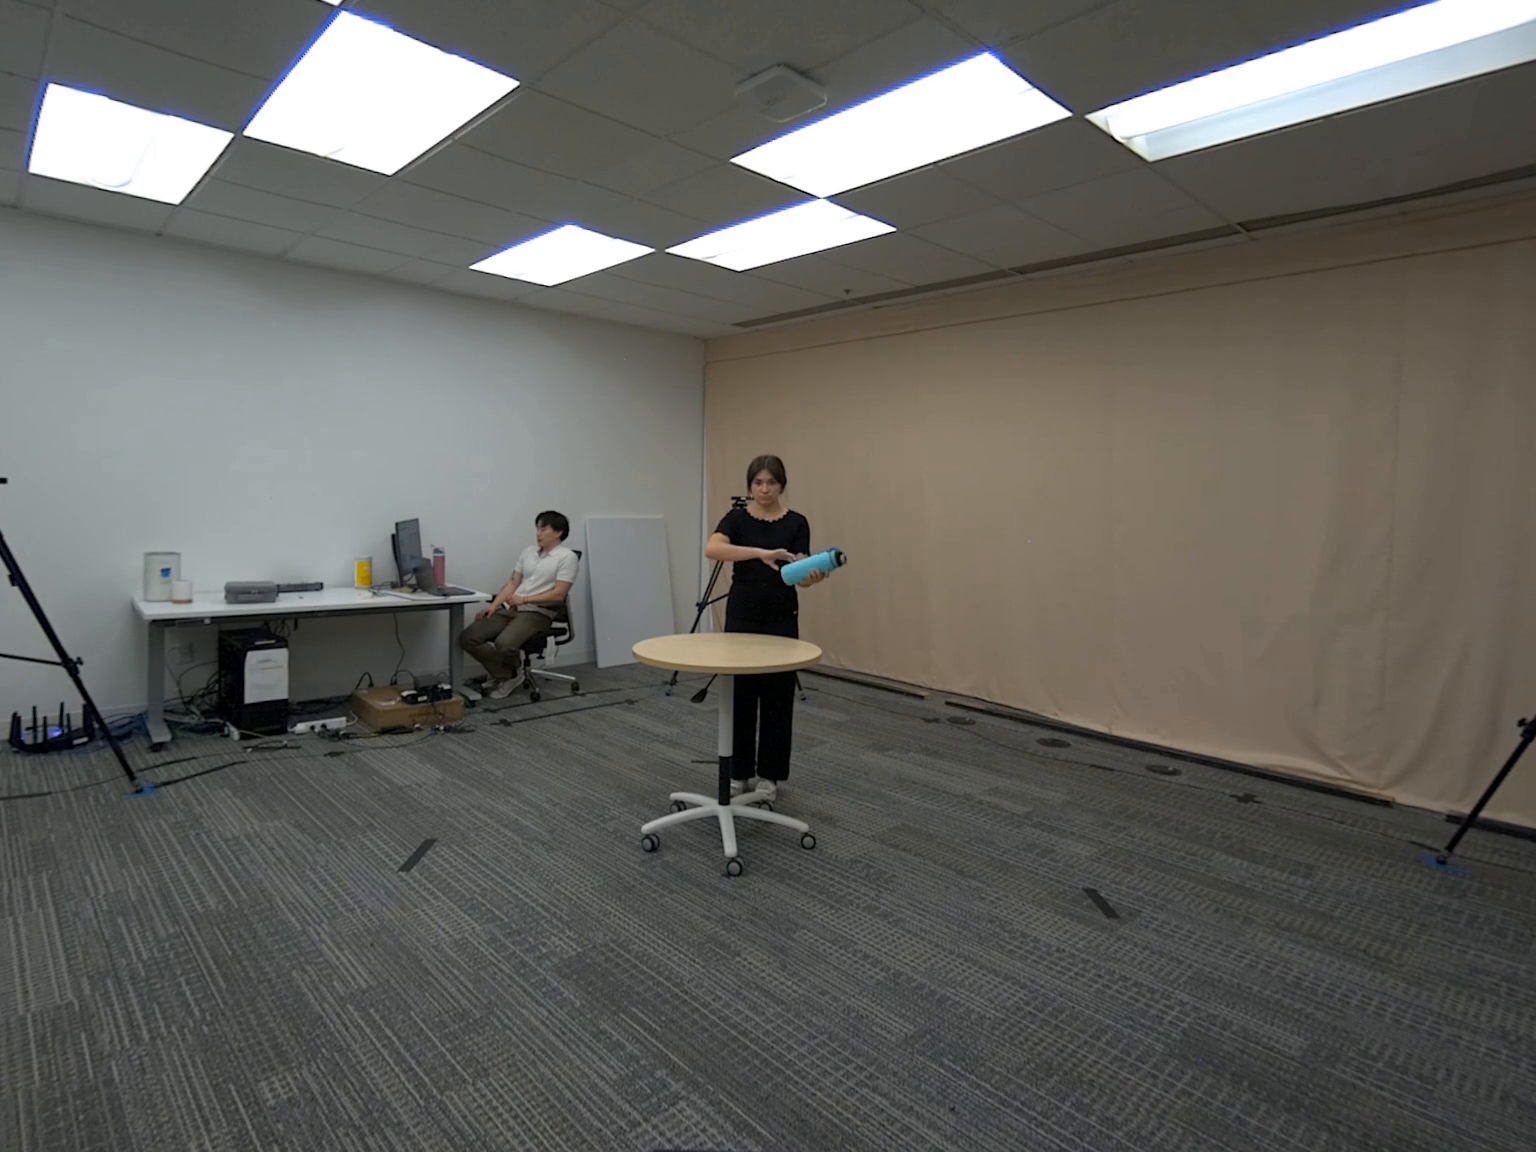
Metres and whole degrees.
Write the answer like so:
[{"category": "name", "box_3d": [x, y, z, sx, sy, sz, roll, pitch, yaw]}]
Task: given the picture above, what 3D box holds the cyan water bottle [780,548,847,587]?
[{"category": "cyan water bottle", "box_3d": [0.189, -0.037, 3.601, 0.286, 0.093, 0.091, -22, -7, 26]}]
